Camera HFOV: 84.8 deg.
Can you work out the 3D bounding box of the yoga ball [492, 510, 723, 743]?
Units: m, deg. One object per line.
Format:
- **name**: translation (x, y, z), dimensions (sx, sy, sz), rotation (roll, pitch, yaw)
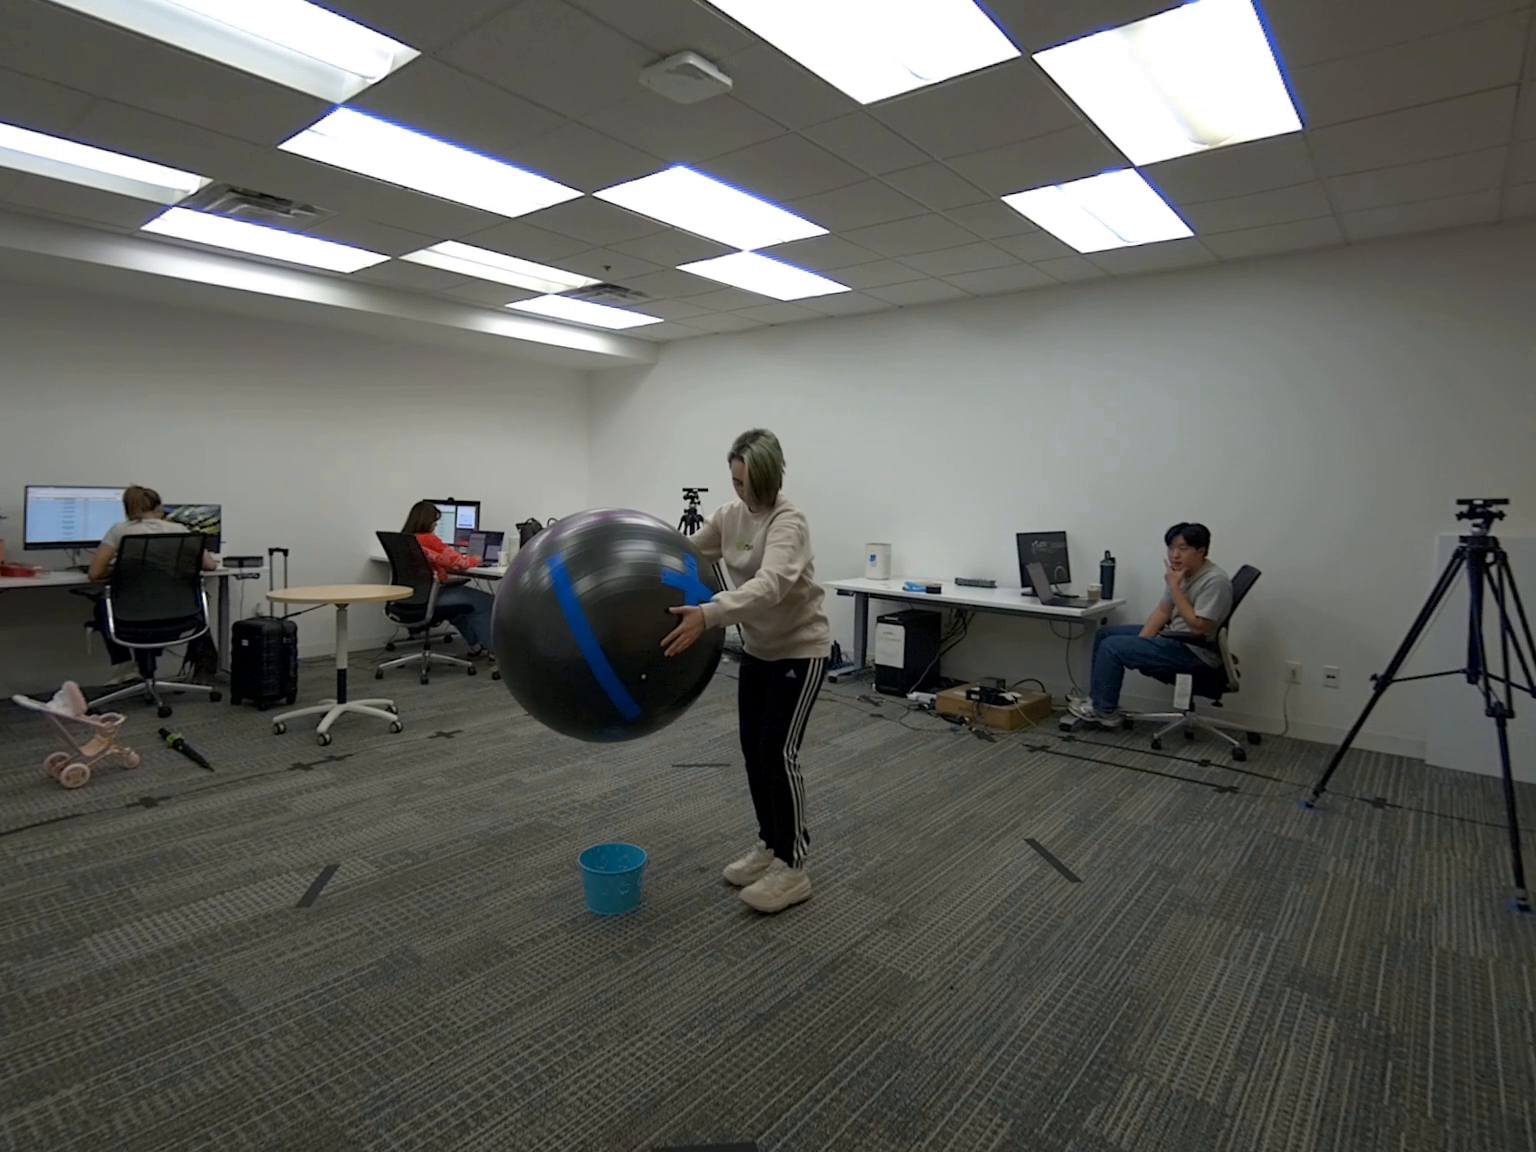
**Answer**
- **yoga ball**: translation (-0.525, 0.159, 2.775), dimensions (0.757, 0.756, 0.761), rotation (1, 4, -2)
